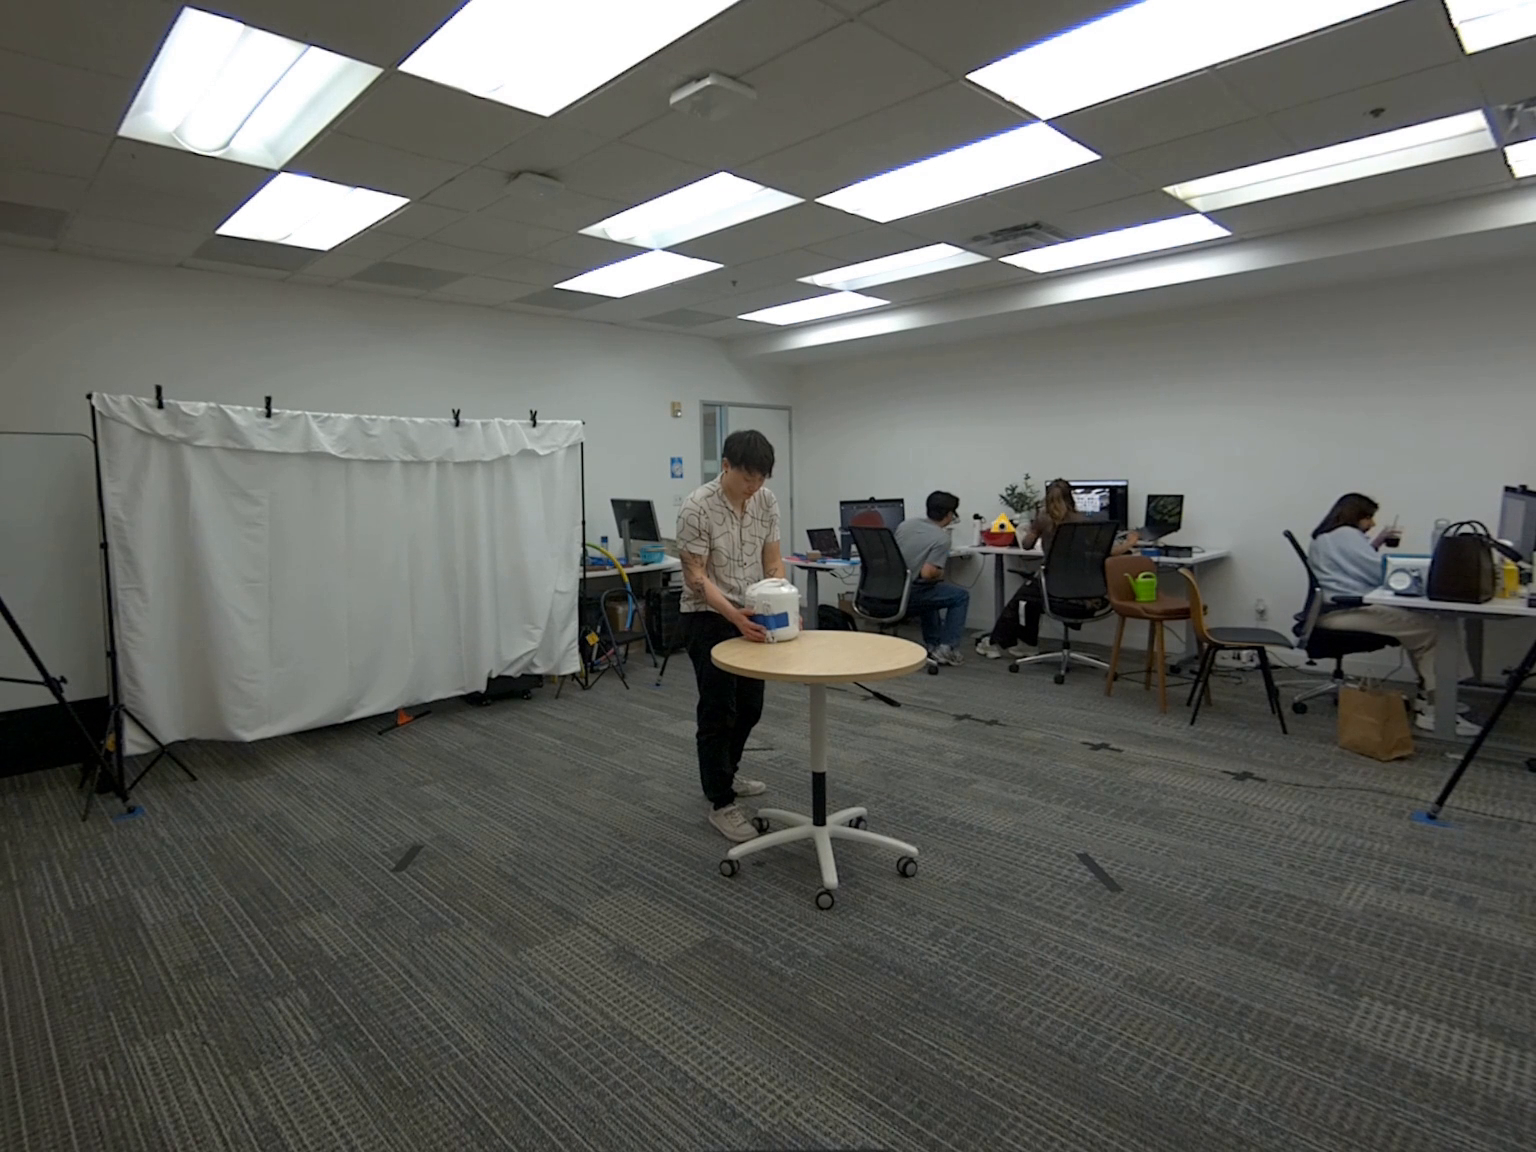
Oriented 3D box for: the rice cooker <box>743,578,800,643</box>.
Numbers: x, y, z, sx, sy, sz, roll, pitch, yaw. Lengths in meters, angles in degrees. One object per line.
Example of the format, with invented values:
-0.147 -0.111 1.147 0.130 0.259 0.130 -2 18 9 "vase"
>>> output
0.014 0.127 3.291 0.215 0.232 0.224 -5 7 -37 "rice cooker"
